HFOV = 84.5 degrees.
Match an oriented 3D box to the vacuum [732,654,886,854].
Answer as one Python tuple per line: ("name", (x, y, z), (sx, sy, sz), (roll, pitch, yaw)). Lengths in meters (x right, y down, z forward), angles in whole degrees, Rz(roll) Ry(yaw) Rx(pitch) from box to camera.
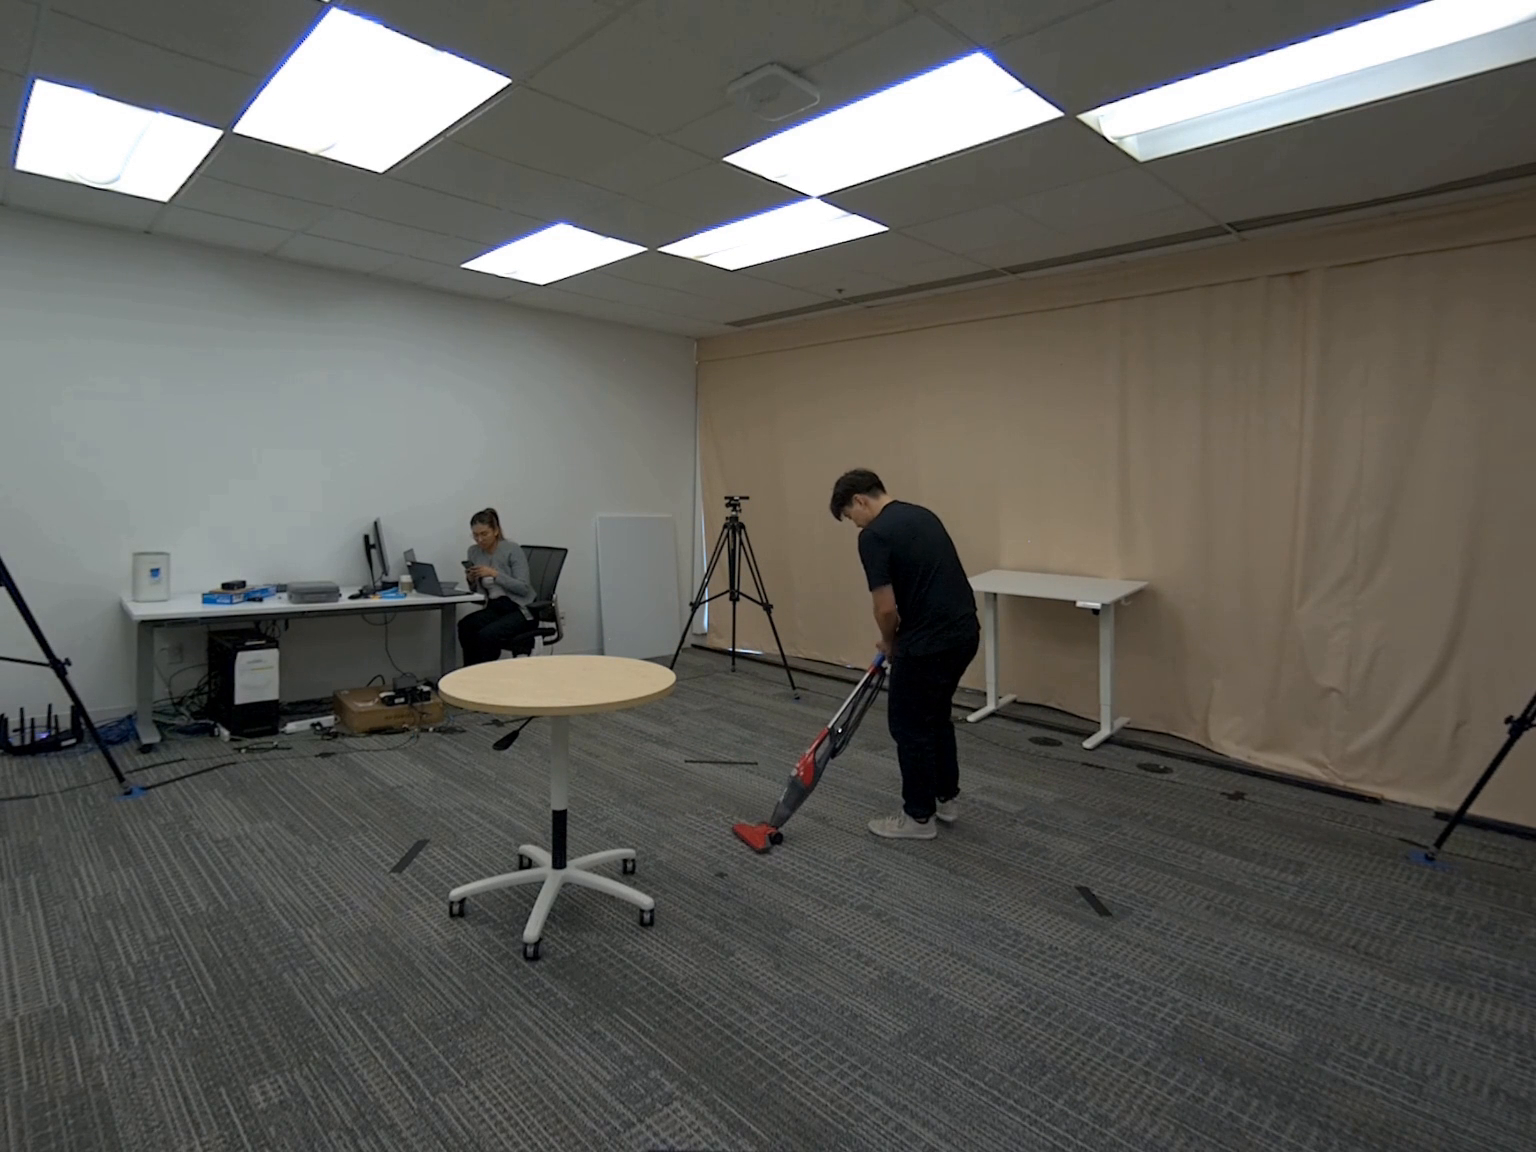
("vacuum", (0.259, 0.679, 3.559), (0.141, 1.050, 0.258), (46, -18, -23))
